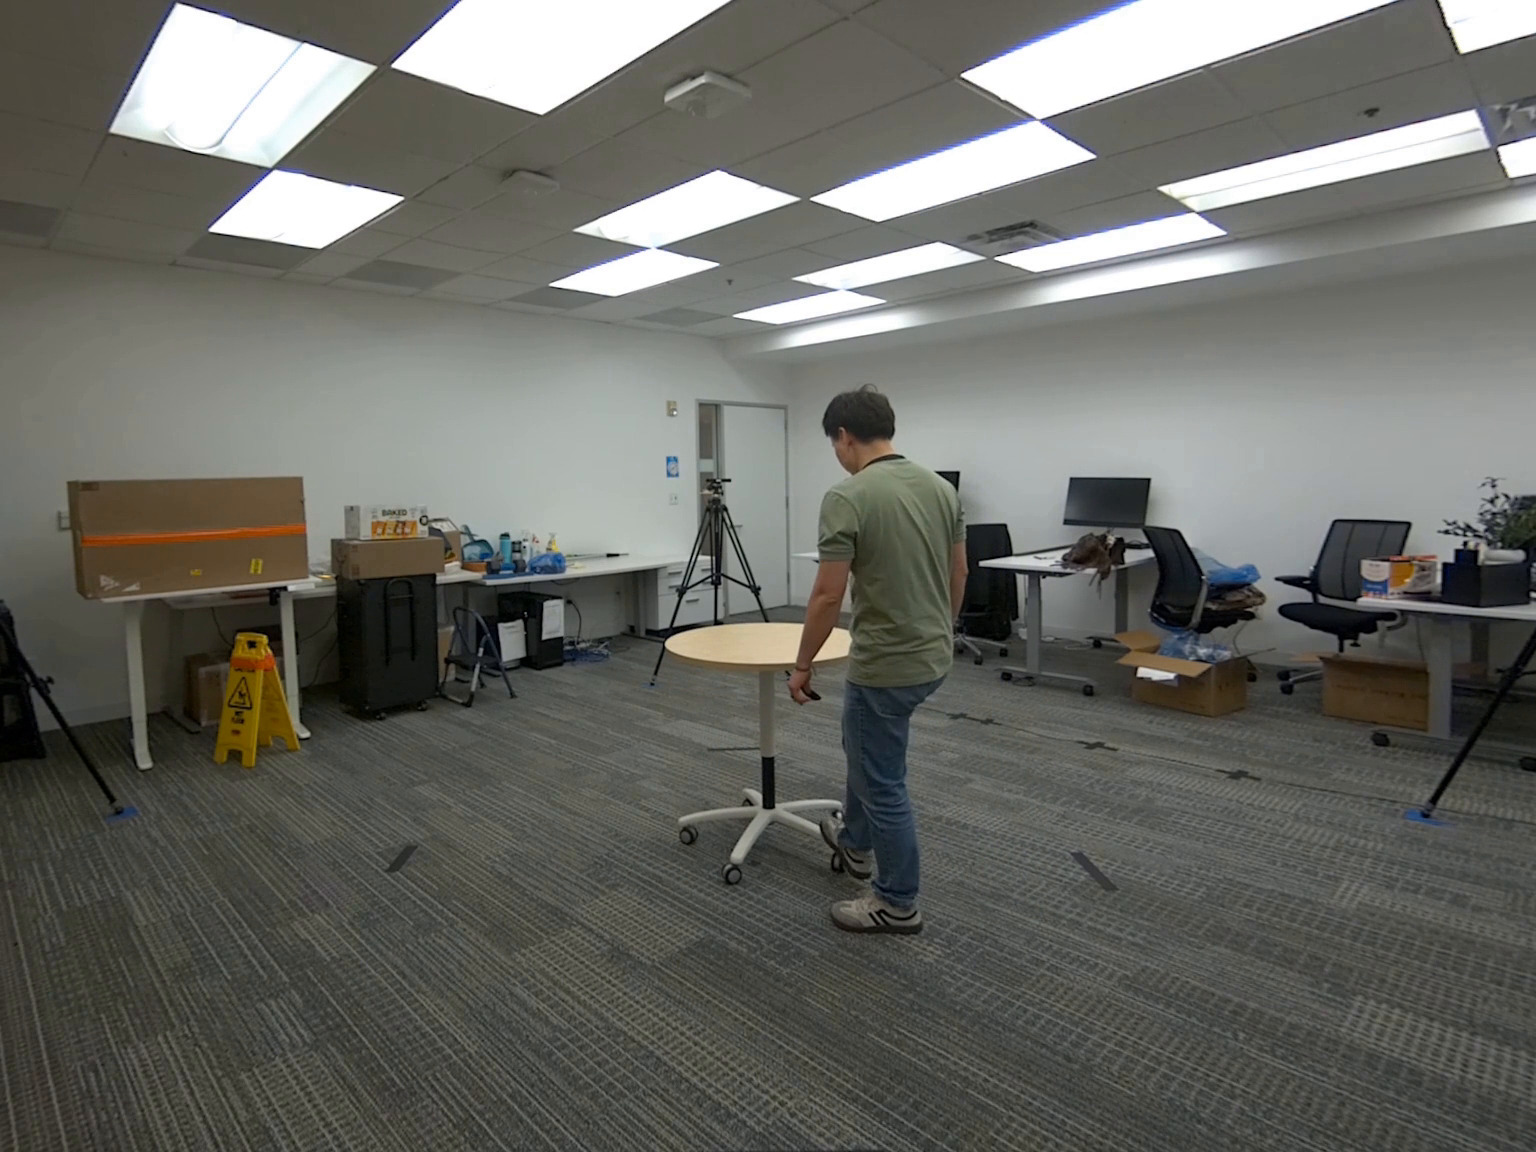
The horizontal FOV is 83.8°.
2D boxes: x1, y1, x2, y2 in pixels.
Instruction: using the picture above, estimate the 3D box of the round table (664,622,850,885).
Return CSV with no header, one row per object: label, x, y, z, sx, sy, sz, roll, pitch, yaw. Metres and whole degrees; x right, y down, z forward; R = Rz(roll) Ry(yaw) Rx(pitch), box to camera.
round table,-0.003,0.638,3.252,0.763,0.790,0.768,-1,5,-2
